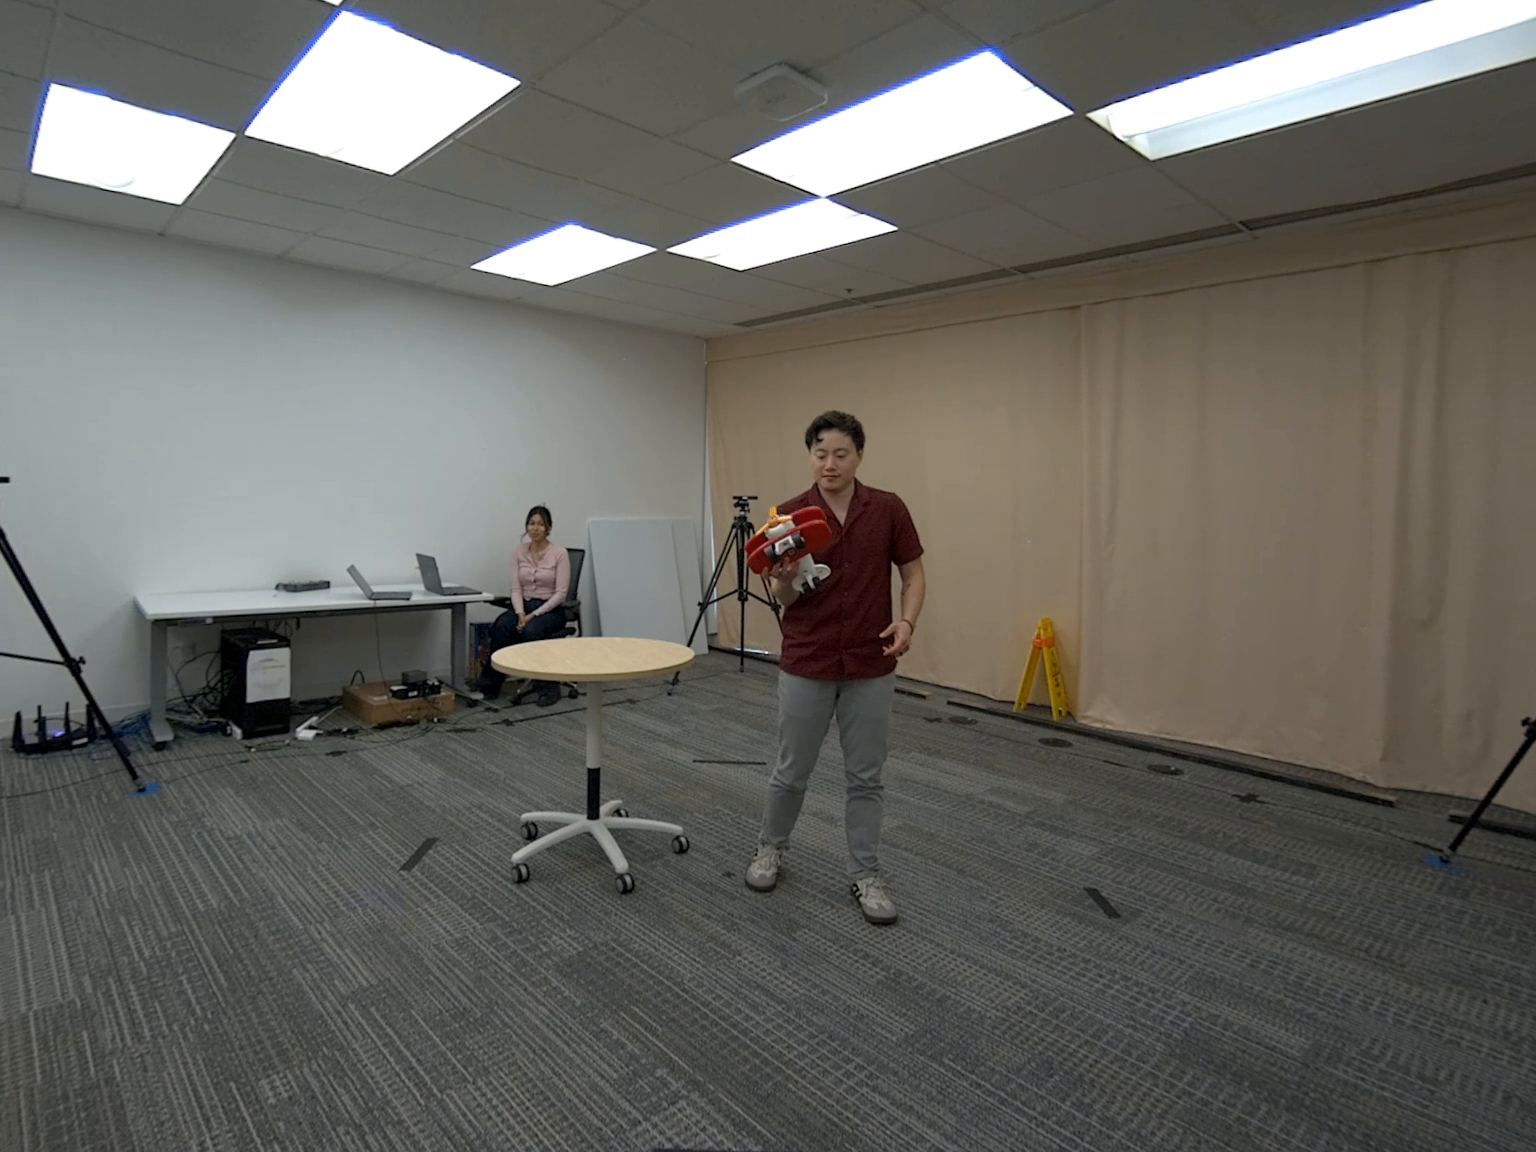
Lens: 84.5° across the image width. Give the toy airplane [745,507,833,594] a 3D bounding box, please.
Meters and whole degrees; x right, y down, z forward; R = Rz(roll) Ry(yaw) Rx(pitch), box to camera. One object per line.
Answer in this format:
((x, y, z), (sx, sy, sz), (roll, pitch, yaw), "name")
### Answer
((0.047, -0.055, 2.440), (0.249, 0.253, 0.161), (-9, 47, -9), "toy airplane")
